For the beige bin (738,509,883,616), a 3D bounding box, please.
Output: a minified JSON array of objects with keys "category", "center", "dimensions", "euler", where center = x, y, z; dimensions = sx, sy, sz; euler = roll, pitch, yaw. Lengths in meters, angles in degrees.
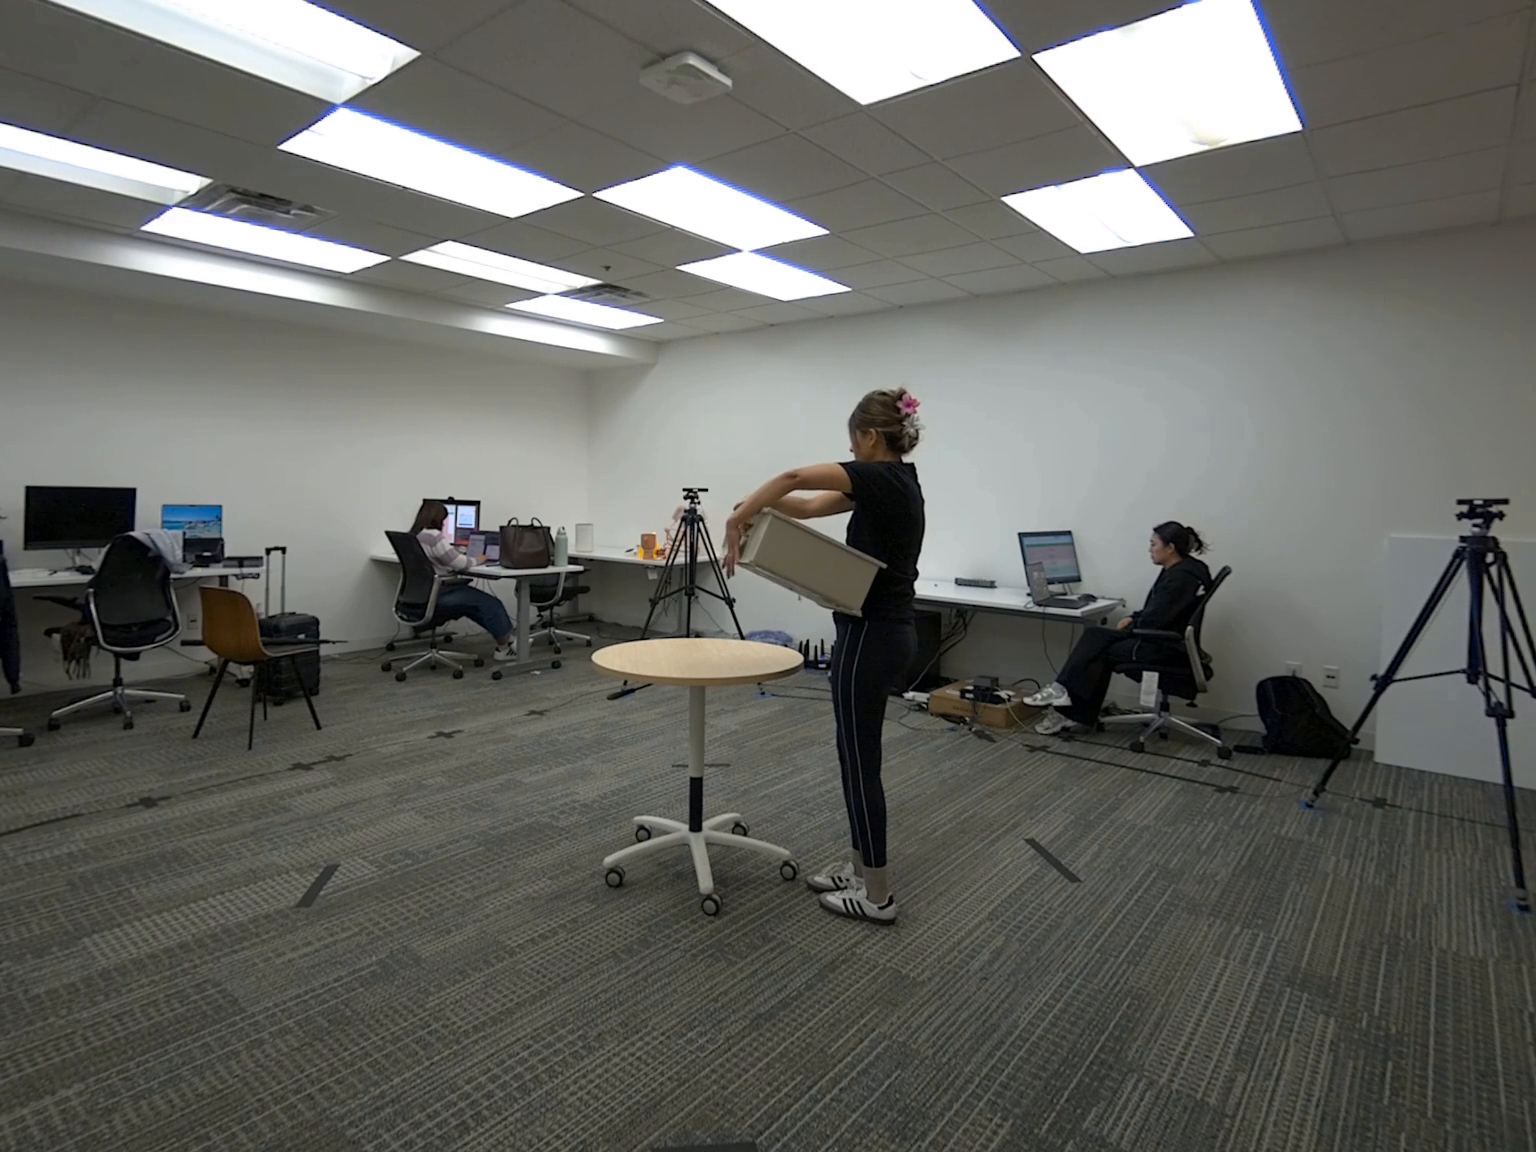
[{"category":"beige bin","center":[0.081,-0.057,2.756],"dimensions":[0.414,0.189,0.384],"euler":[26,-3,-15]}]
